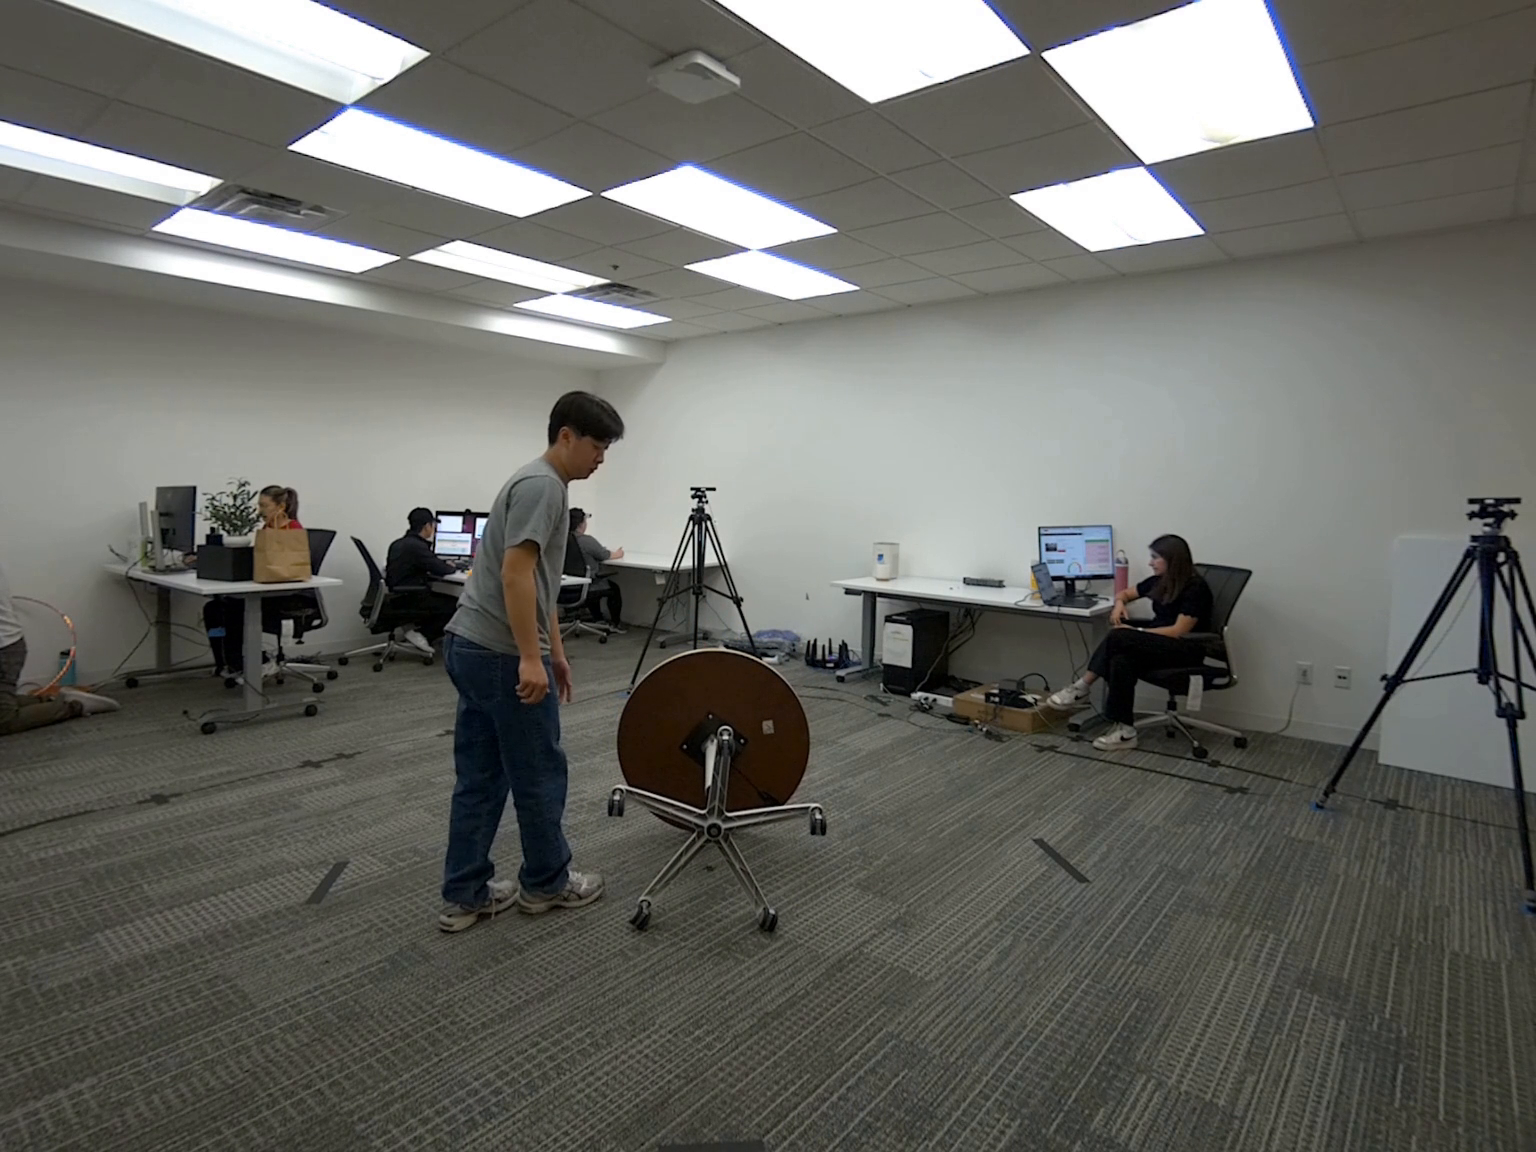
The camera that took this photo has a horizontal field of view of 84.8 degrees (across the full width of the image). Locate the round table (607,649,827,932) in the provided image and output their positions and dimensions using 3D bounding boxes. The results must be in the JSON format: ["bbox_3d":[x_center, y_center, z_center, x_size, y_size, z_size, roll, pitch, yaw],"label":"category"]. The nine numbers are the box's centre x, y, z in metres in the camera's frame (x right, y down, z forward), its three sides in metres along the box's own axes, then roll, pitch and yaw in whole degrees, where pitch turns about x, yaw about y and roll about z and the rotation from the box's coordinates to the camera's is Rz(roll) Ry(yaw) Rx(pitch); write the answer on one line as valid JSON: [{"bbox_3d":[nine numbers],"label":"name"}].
[{"bbox_3d":[-0.198,0.744,2.992,0.763,0.757,0.803,1,10,-2],"label":"round table"}]
